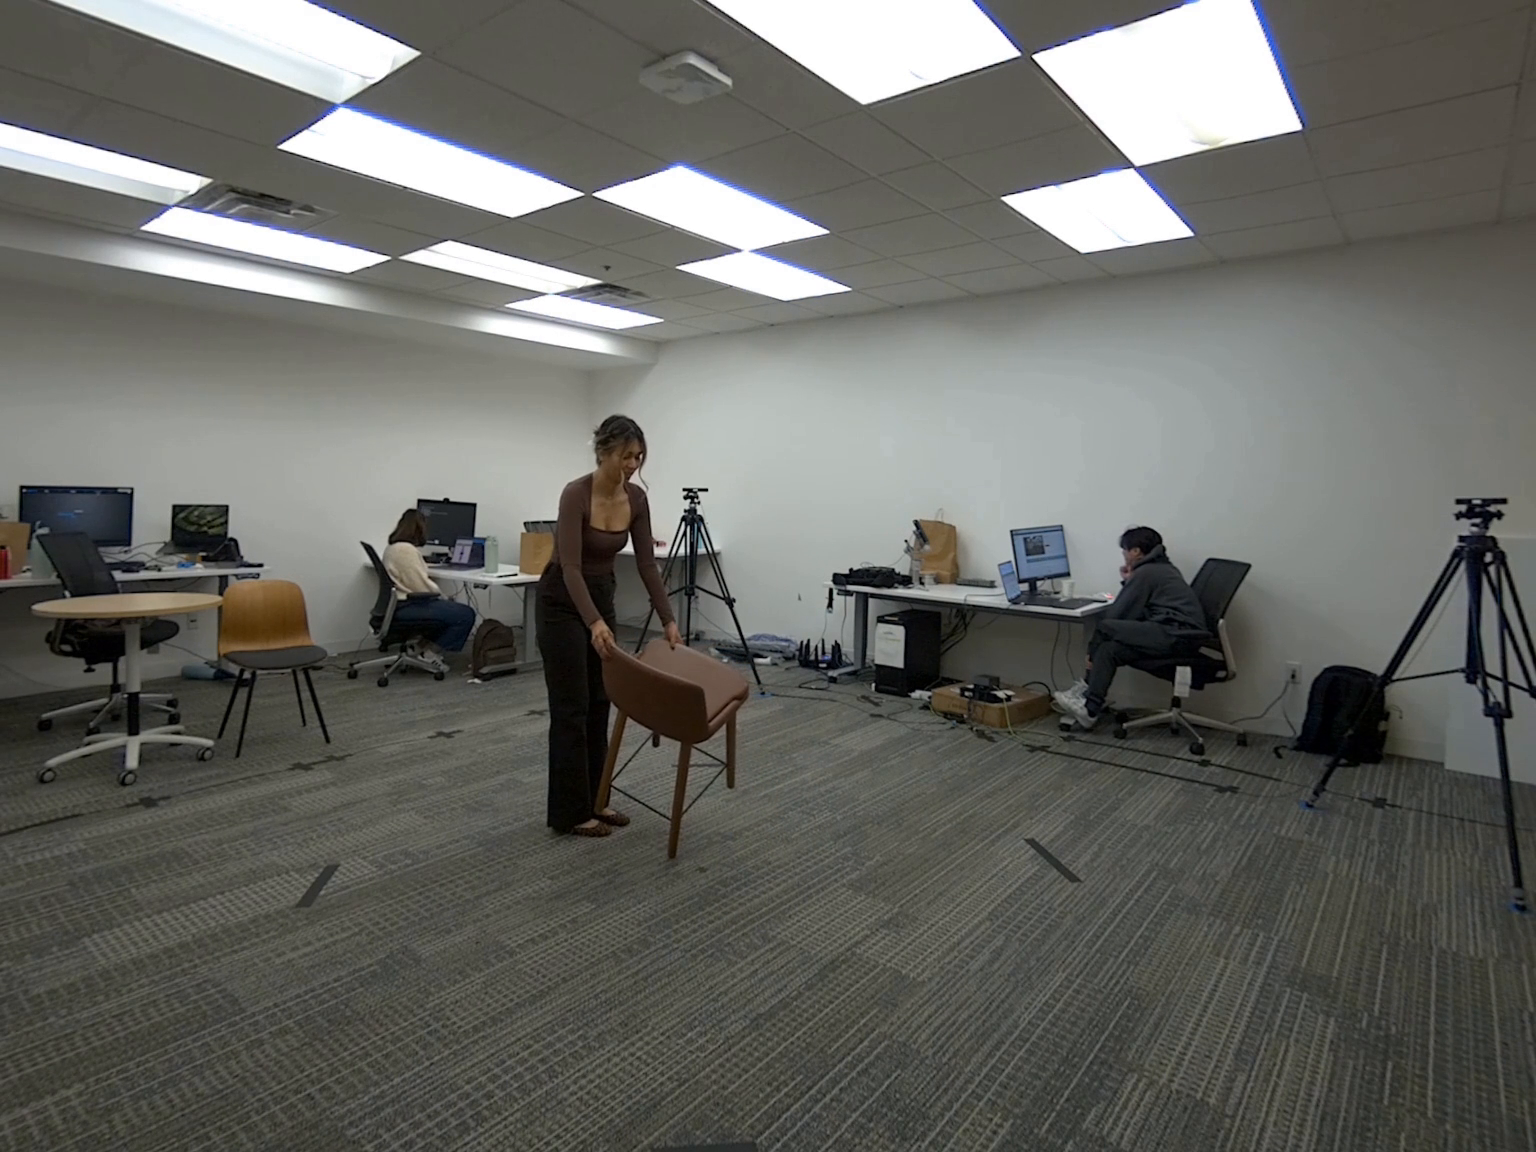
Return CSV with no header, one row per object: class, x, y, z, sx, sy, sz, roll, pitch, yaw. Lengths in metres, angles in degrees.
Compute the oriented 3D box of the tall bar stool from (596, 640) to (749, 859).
tall bar stool,-0.368,0.543,3.203,0.470,0.869,0.465,23,36,21
